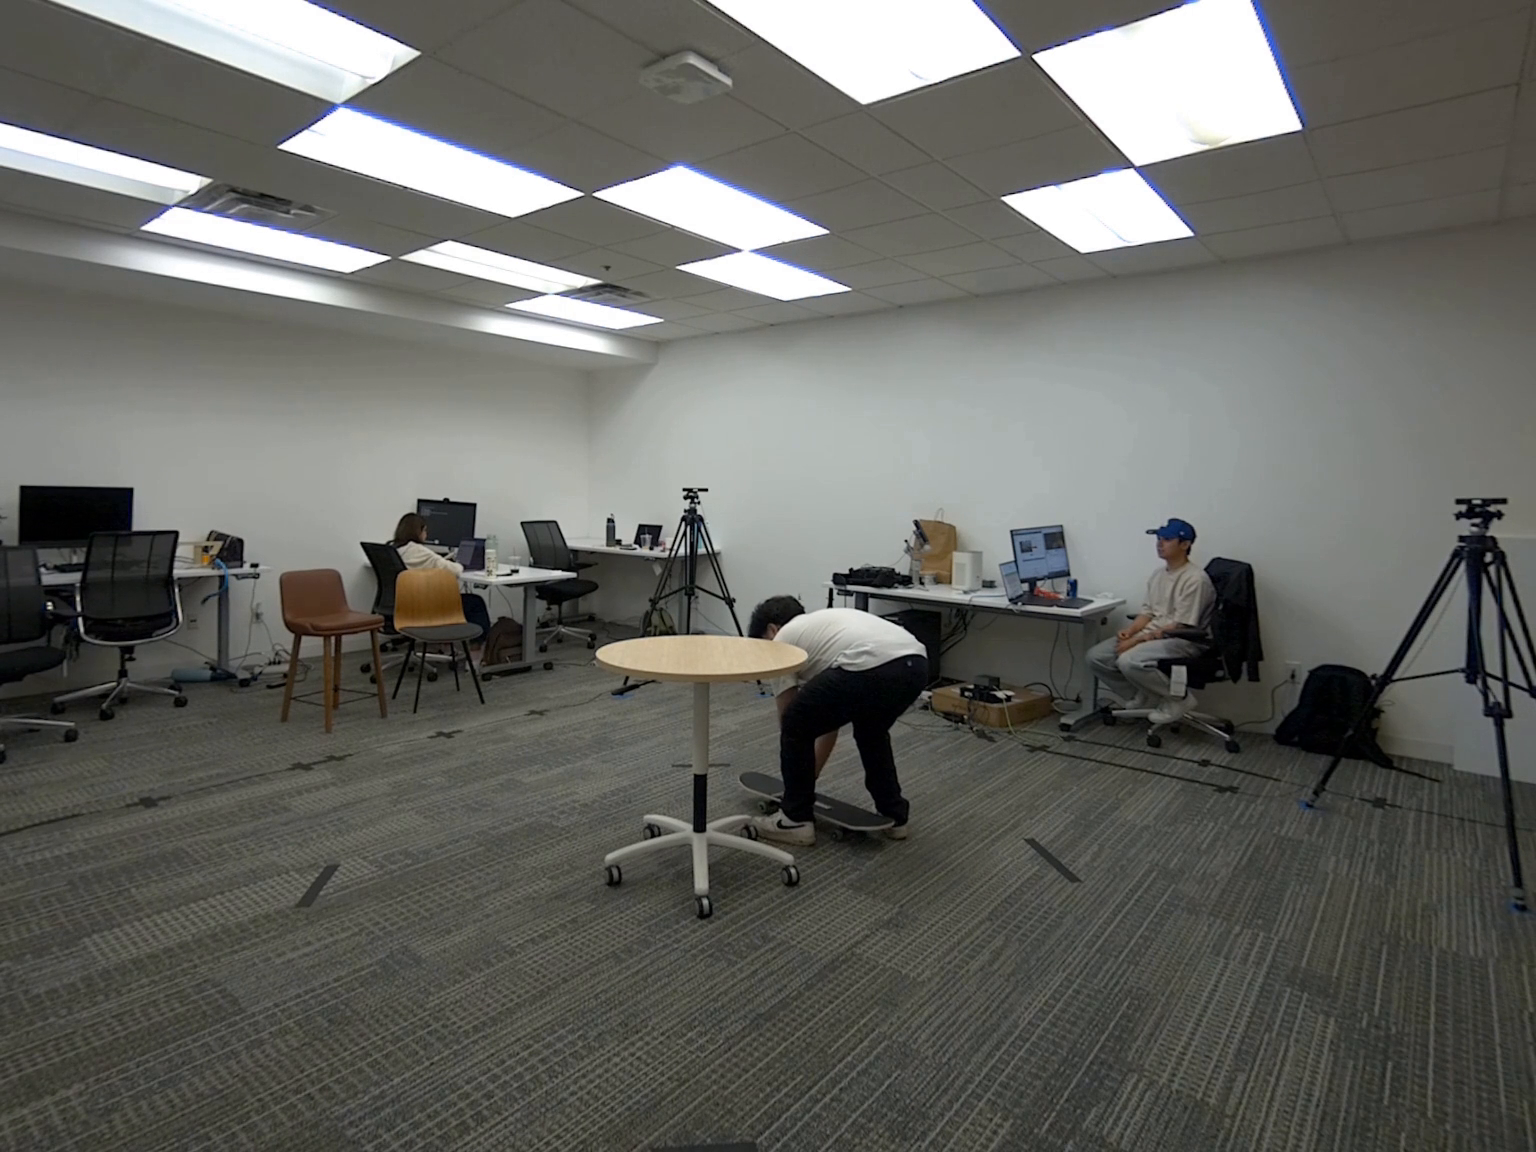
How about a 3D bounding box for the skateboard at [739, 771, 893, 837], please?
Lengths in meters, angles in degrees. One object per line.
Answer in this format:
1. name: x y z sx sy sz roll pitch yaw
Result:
1. skateboard: 0.170 0.976 3.578 0.813 0.110 0.187 7 8 44
